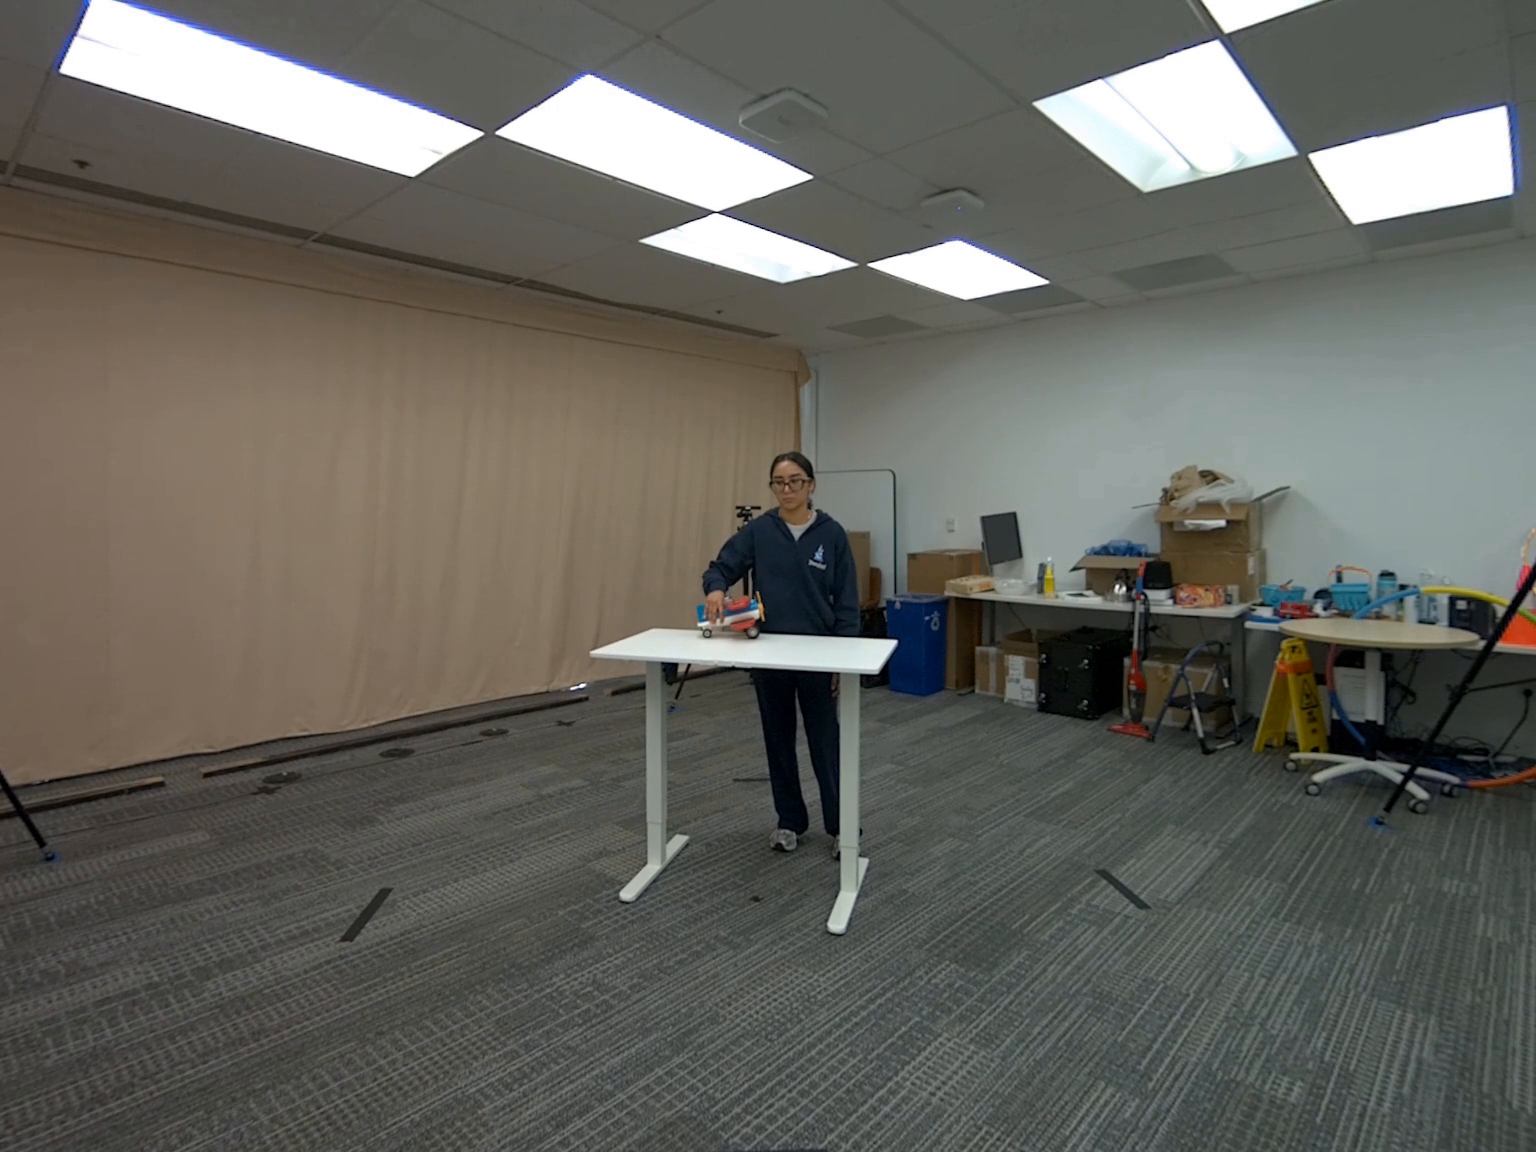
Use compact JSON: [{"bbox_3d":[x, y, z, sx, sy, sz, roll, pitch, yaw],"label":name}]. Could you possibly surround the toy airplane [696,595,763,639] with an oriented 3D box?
[{"bbox_3d":[-0.129,0.162,3.260,0.253,0.156,0.258,-3,5,-28],"label":"toy airplane"}]
